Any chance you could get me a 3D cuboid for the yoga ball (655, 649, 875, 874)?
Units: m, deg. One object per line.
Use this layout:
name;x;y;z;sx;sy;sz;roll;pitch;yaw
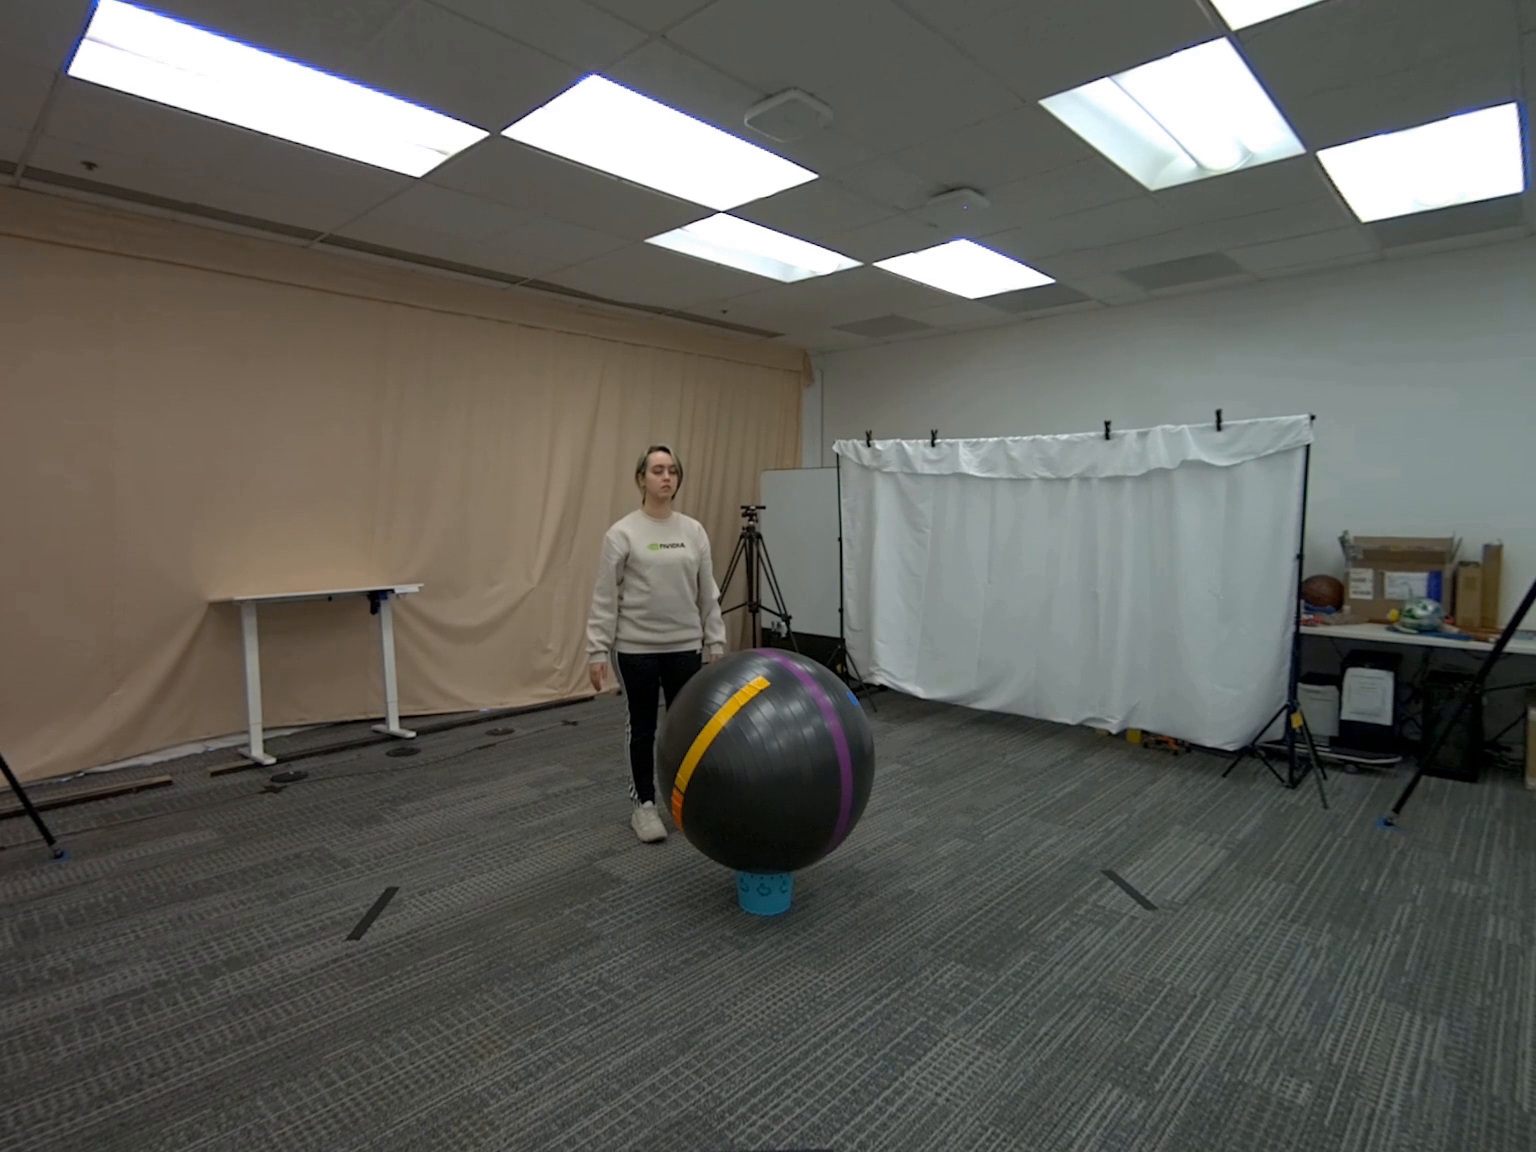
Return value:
yoga ball;-0.007;0.633;2.932;0.757;0.756;0.760;0;4;-2
